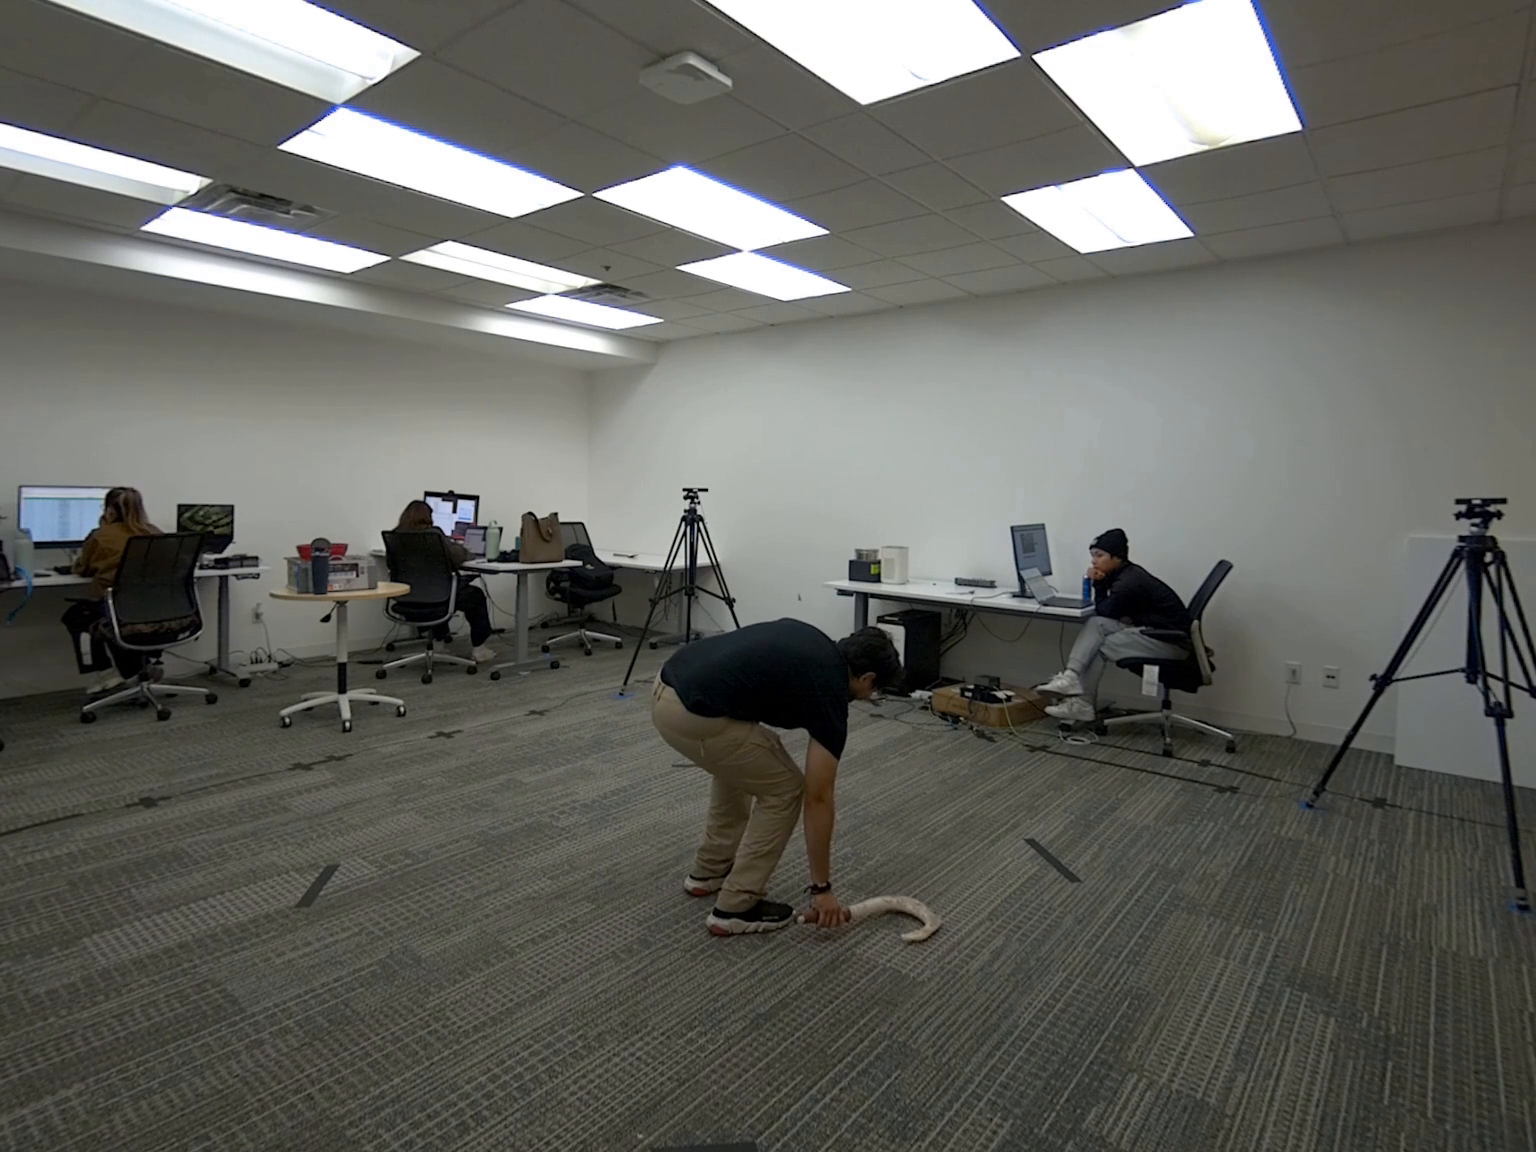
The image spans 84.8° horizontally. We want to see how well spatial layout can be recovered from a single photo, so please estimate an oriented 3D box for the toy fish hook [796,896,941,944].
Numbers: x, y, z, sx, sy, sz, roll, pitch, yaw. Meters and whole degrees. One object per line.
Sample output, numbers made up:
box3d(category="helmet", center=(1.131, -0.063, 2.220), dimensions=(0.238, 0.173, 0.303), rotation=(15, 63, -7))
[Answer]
box3d(category="toy fish hook", center=(0.317, 1.081, 2.679), dimensions=(0.493, 0.048, 0.231), rotation=(4, 5, -27))
